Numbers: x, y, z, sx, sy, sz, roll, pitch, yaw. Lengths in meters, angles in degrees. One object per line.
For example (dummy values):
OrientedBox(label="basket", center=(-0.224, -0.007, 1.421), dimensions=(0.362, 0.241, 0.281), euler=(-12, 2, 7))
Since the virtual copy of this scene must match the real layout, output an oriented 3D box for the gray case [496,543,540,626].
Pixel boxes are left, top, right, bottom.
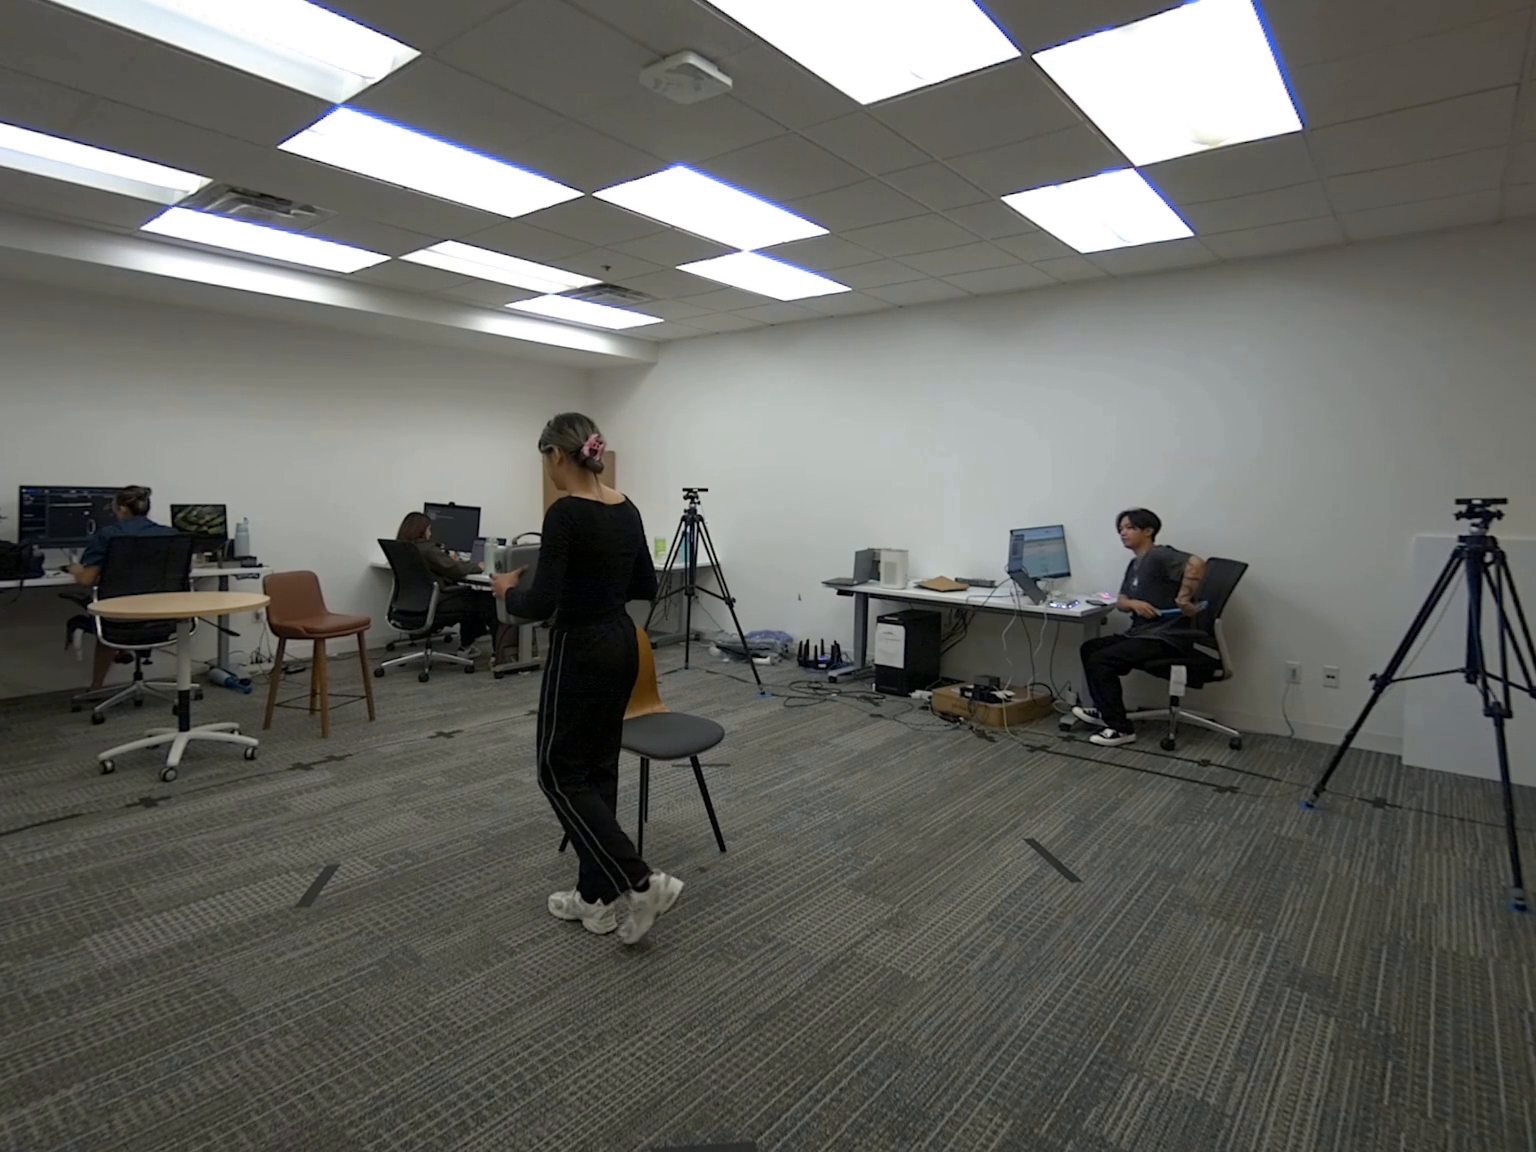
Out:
OrientedBox(label="gray case", center=(-0.789, 0.016, 2.795), dimensions=(0.107, 0.260, 0.249), euler=(-2, 3, 44))
